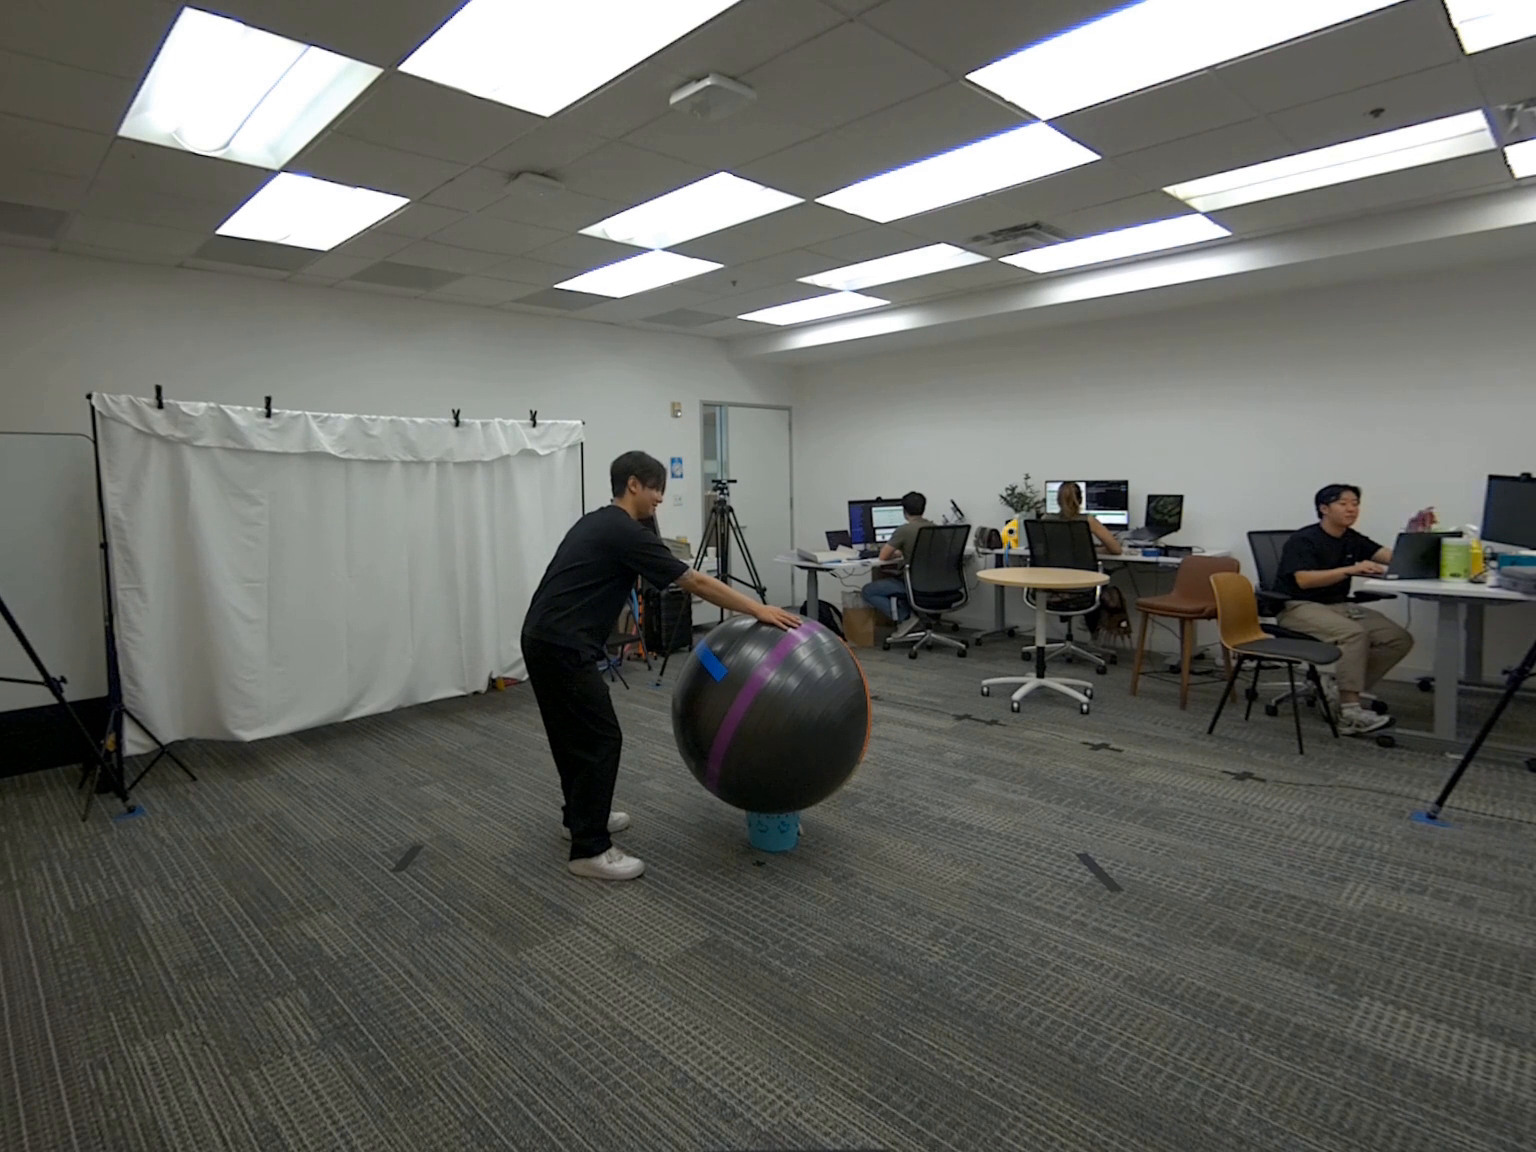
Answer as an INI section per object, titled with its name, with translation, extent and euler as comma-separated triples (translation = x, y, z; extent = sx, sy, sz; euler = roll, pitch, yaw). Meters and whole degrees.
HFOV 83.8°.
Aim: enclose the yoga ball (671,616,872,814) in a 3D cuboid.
[yoga ball]
translation = 0.023, 0.521, 3.274
extent = 0.757, 0.755, 0.762
euler = -1, 5, -2
